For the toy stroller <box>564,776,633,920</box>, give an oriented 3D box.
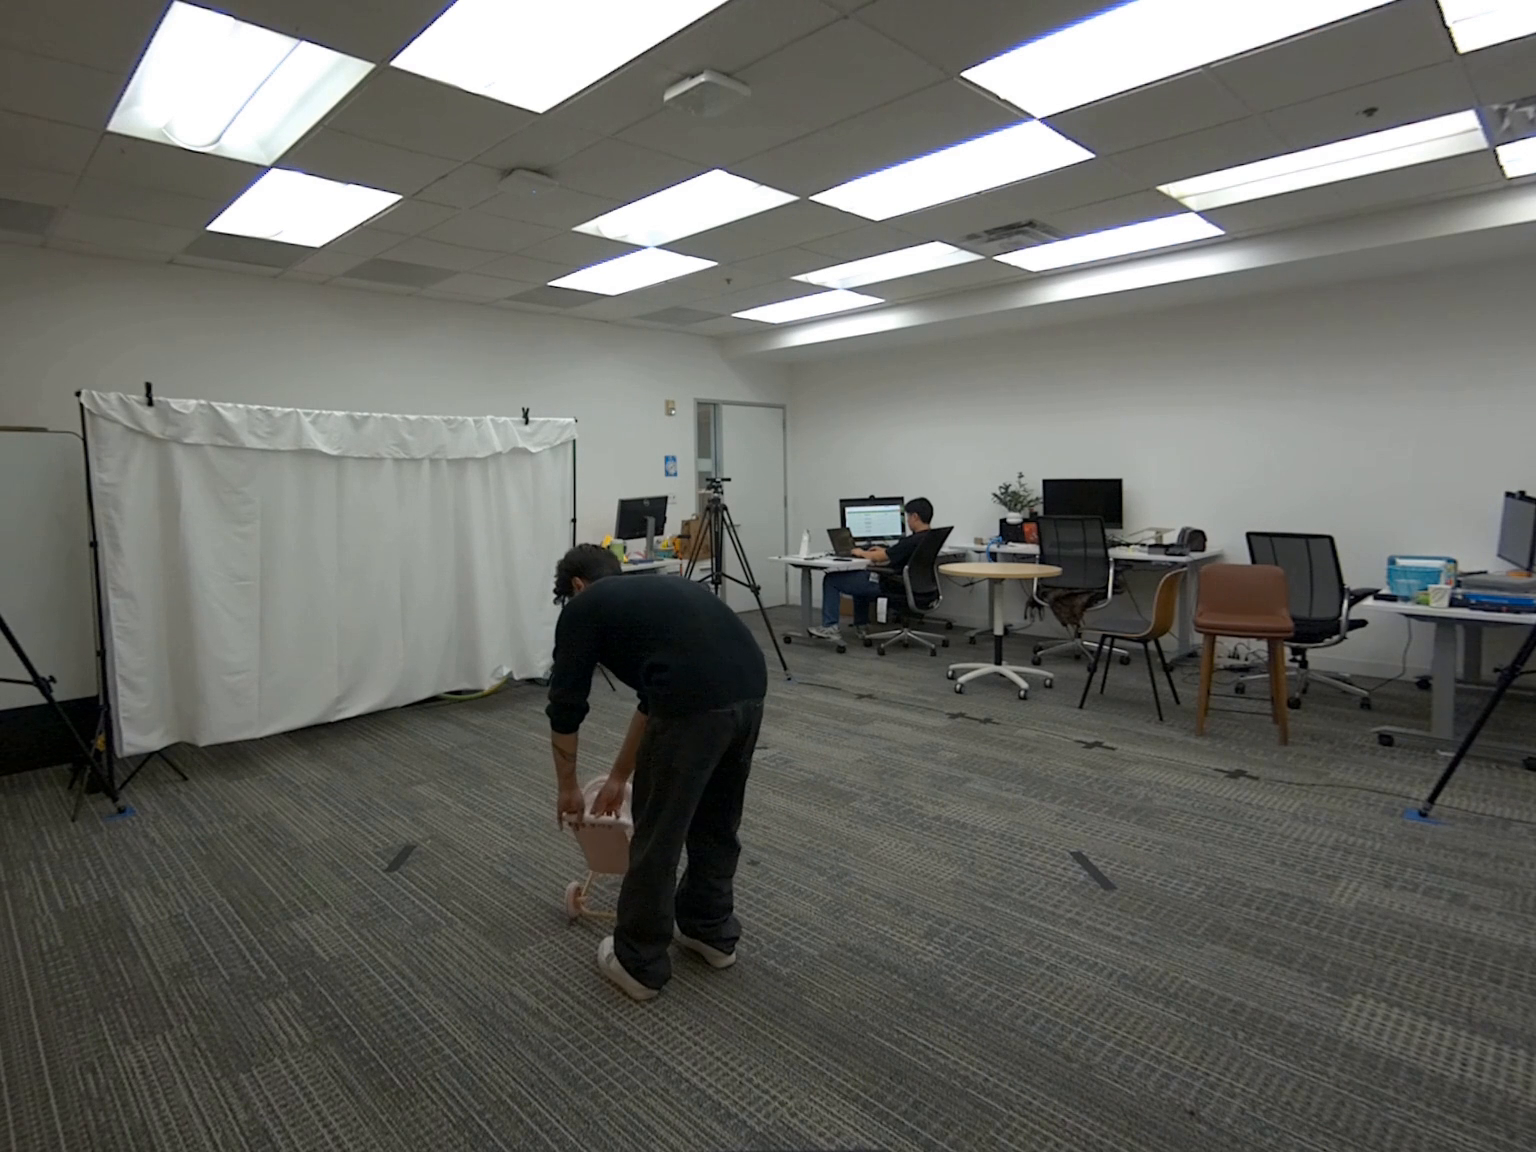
[{"bbox_3d":[-0.489,0.869,2.762,0.285,0.523,0.344,1,25,13],"label":"toy stroller"}]
